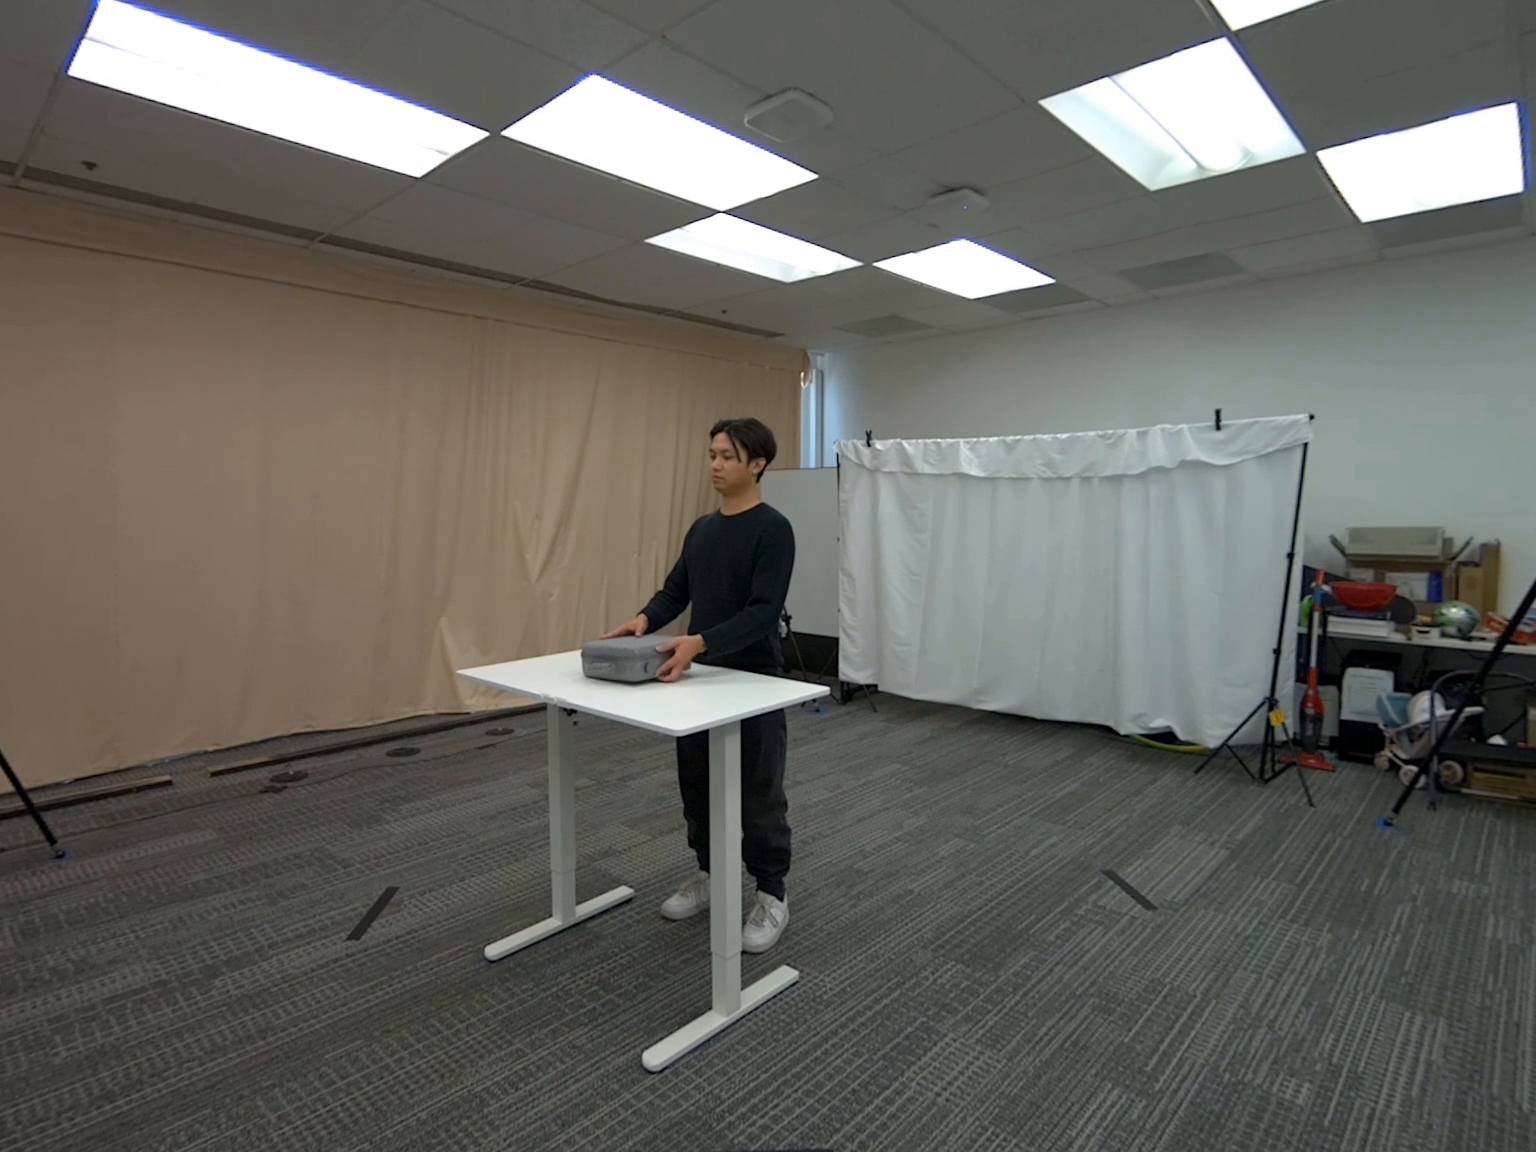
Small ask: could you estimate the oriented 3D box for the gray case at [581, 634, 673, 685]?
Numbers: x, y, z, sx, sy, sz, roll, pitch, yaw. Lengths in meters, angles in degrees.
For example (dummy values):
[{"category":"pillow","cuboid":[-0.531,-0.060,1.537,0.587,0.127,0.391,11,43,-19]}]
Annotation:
[{"category":"gray case","cuboid":[-0.398,0.245,2.525,0.265,0.104,0.253,1,4,39]}]
